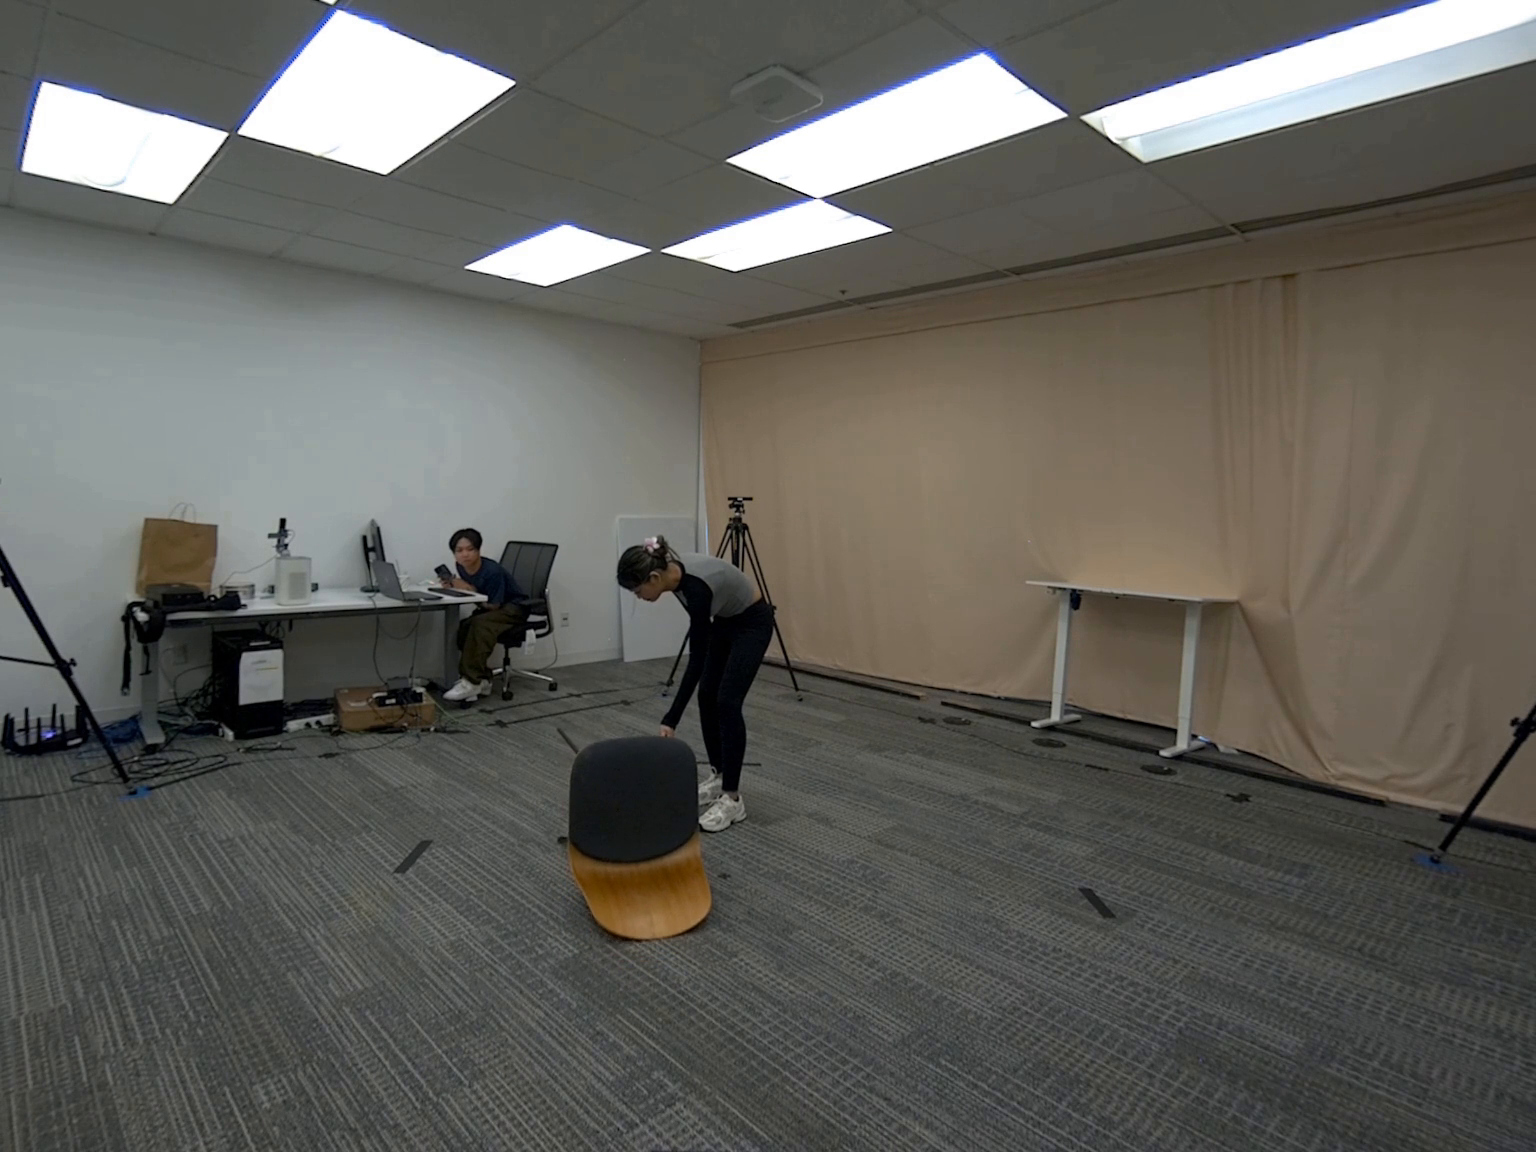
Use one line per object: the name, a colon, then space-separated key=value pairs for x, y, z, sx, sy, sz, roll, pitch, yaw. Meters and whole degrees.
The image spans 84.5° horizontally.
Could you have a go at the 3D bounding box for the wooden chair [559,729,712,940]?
wooden chair: x=-0.498 y=0.844 z=3.041 sx=0.471 sy=0.521 sz=0.893 roll=0 pitch=6 yaw=-19
